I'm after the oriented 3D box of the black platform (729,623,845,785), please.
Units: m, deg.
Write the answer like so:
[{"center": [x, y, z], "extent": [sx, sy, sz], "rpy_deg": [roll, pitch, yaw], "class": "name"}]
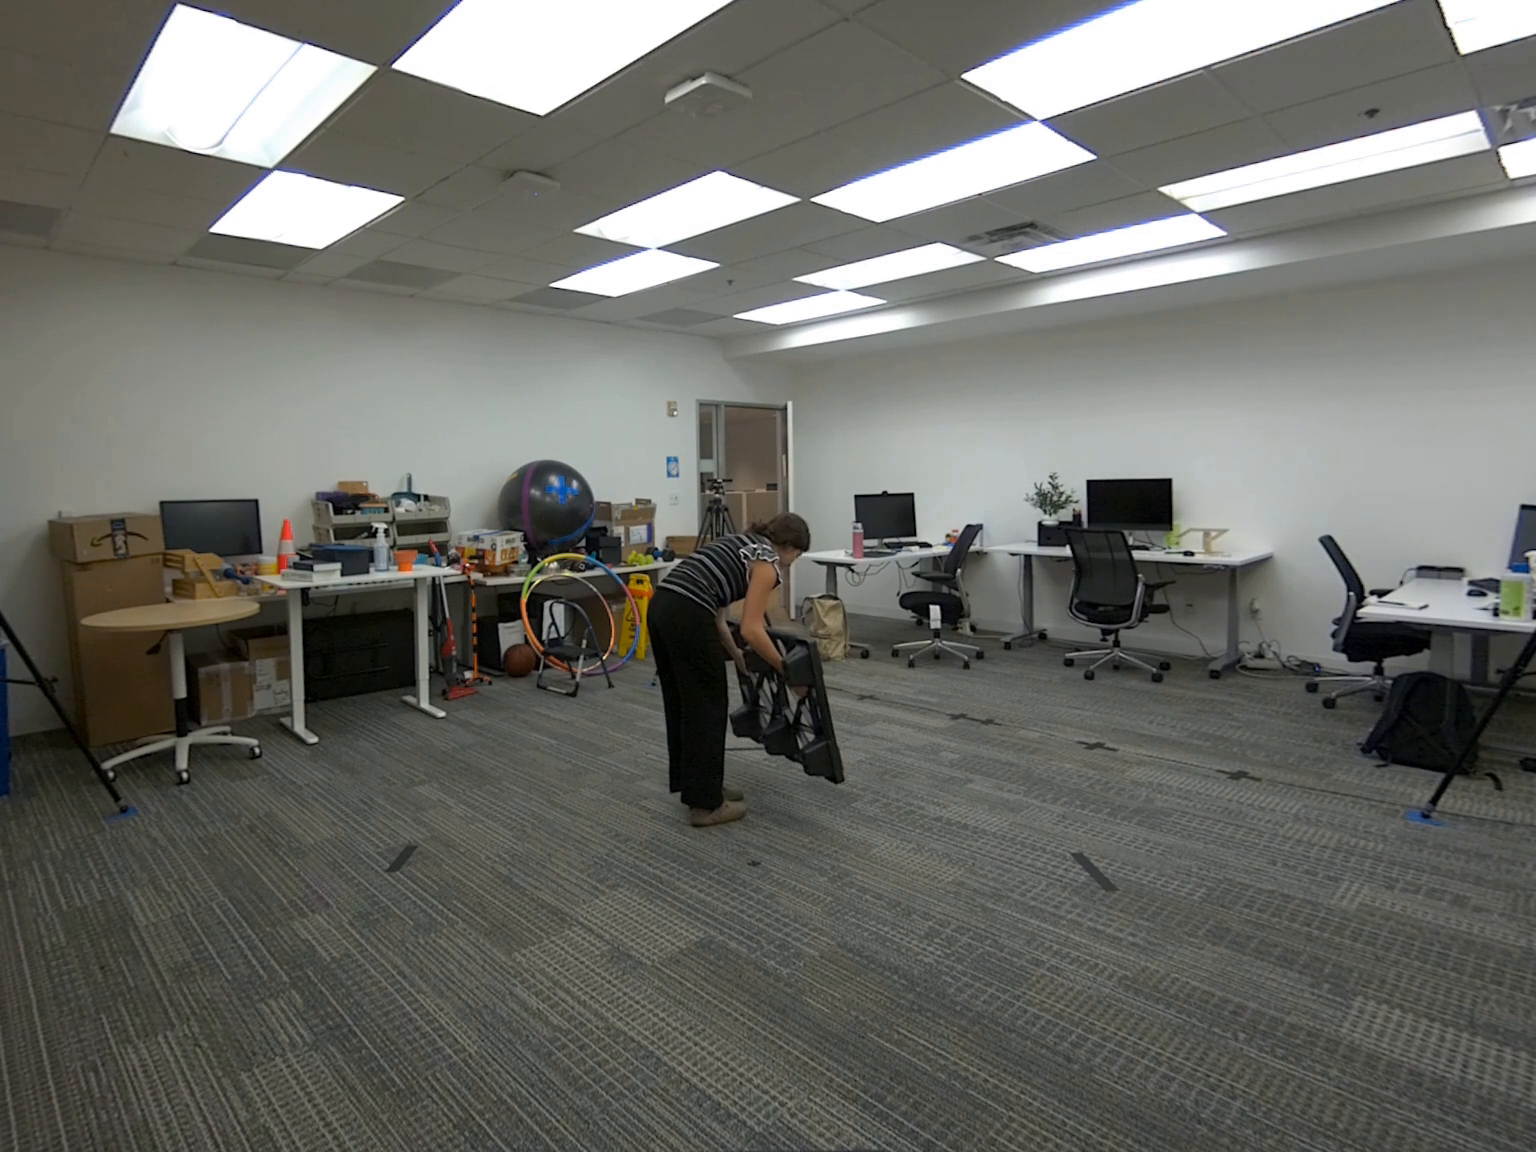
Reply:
[{"center": [0.014, 0.526, 3.705], "extent": [0.141, 0.601, 0.824], "rpy_deg": [-15, 8, -24], "class": "black platform"}]
